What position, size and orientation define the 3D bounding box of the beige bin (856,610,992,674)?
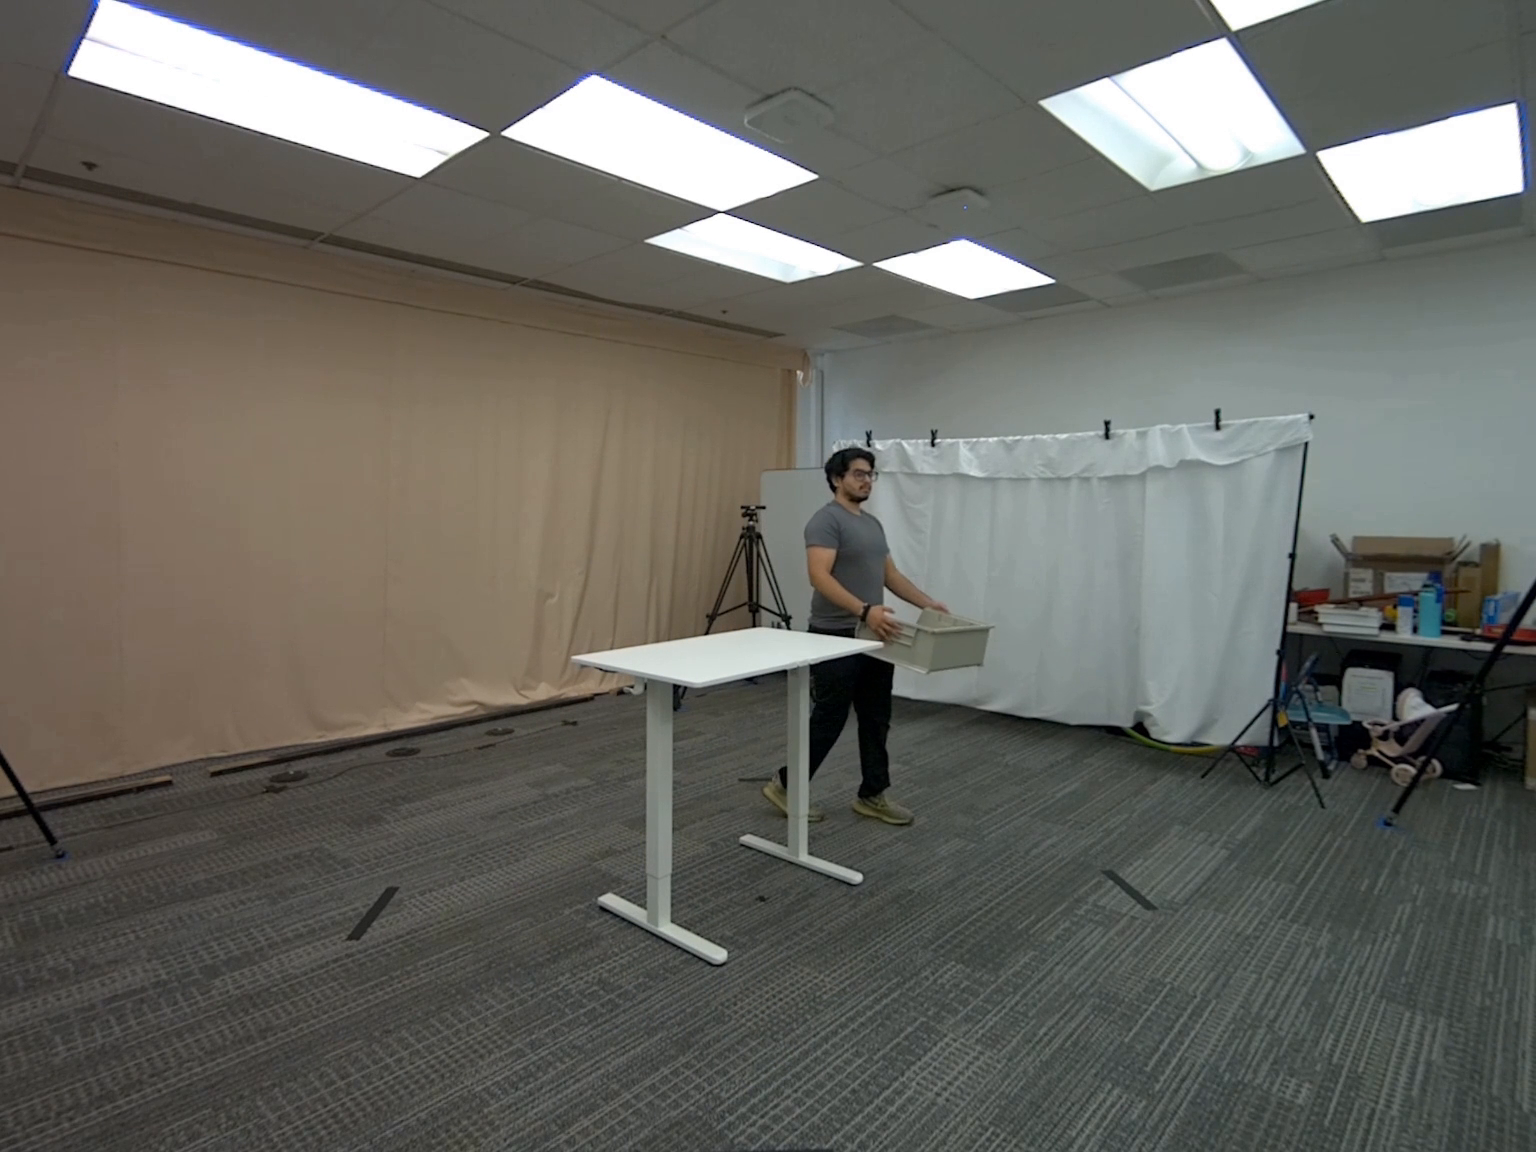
[{"bbox_3d":[0.638,0.254,3.467,0.409,0.188,0.391,1,12,-43],"label":"beige bin"}]
